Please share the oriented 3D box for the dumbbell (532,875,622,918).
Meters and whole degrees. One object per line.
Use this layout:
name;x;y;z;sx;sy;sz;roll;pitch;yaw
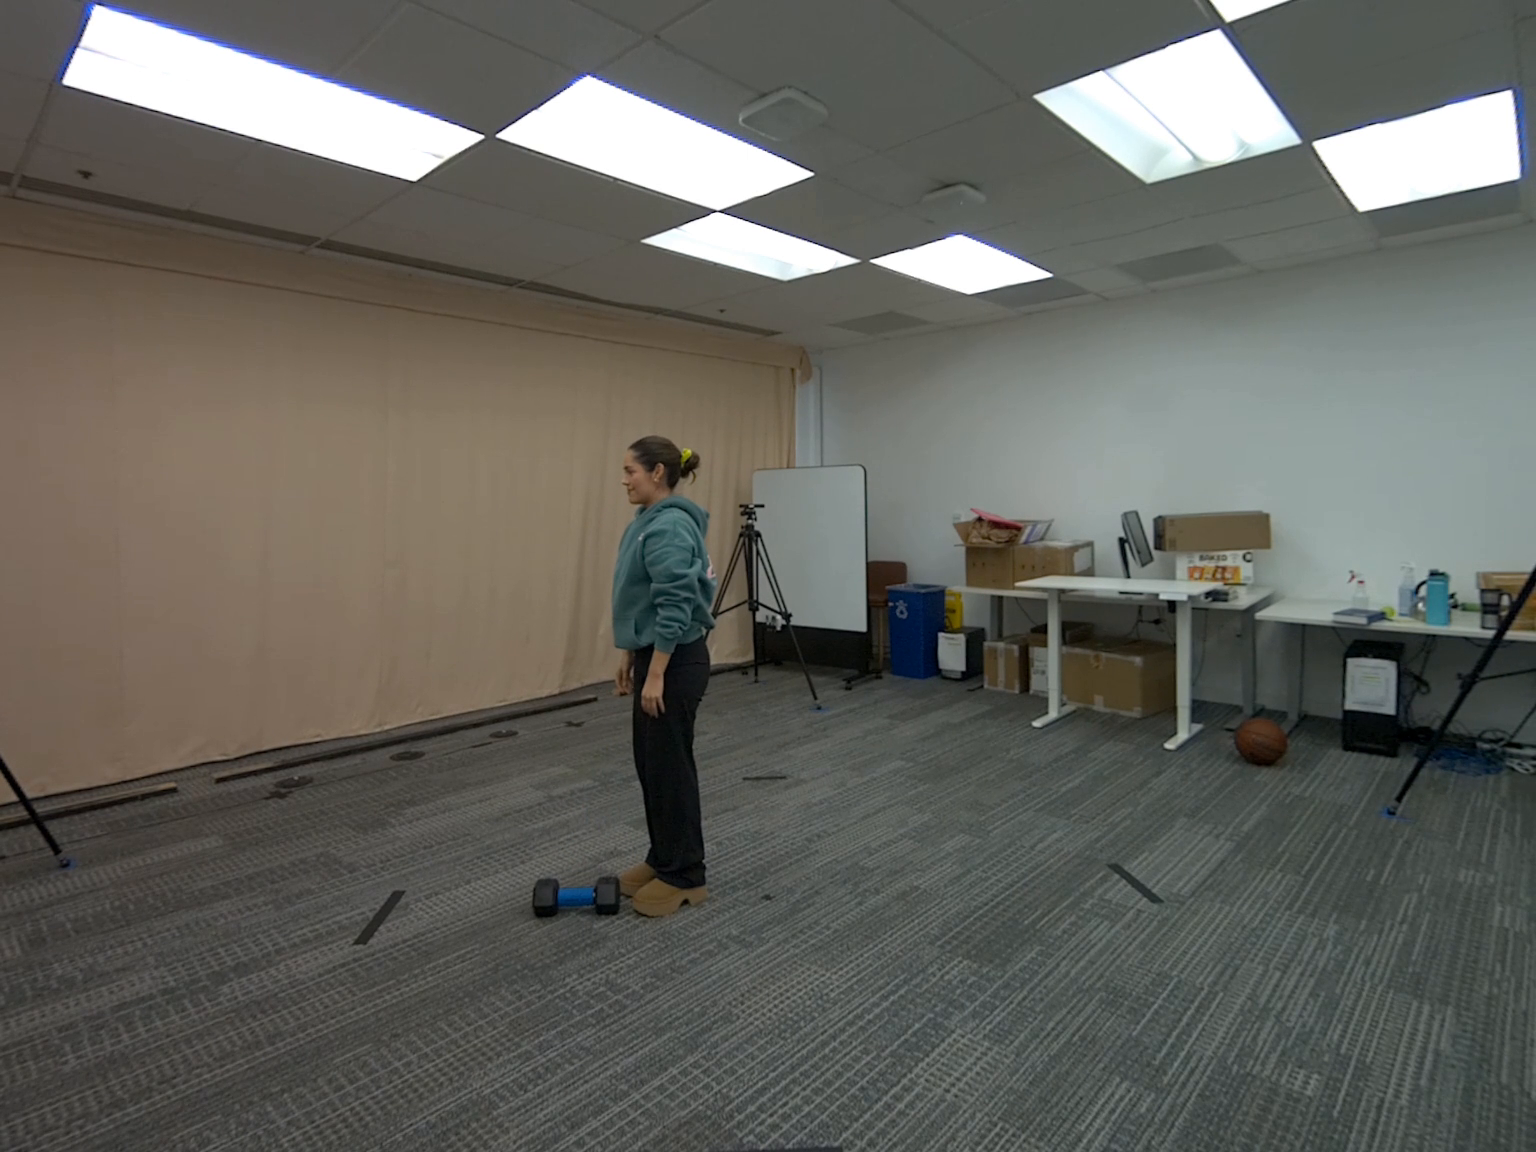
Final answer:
dumbbell;-0.659;1.116;2.897;0.293;0.121;0.111;-2;34;-2
